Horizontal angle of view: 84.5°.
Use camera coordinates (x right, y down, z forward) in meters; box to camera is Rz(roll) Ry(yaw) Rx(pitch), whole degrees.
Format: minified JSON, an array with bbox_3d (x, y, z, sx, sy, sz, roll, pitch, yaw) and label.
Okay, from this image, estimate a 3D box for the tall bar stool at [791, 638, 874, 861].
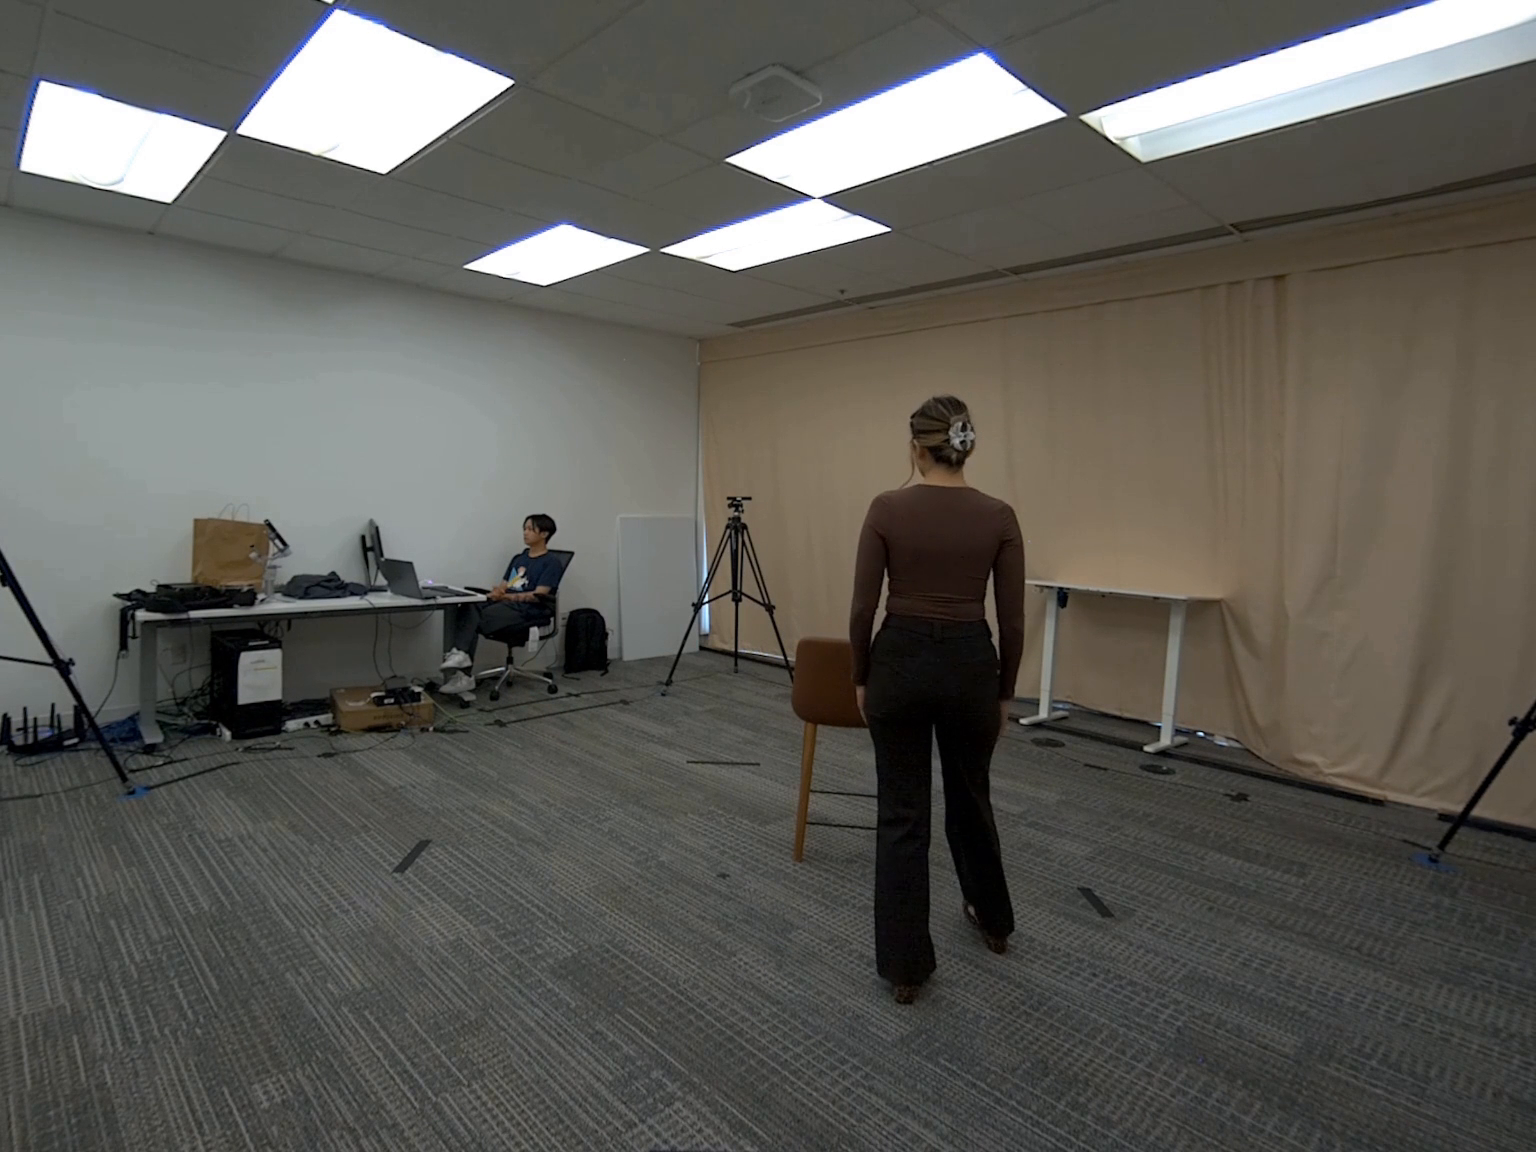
[{"bbox_3d":[0.321,0.657,3.398,0.460,0.887,0.465,2,5,10],"label":"tall bar stool"}]
